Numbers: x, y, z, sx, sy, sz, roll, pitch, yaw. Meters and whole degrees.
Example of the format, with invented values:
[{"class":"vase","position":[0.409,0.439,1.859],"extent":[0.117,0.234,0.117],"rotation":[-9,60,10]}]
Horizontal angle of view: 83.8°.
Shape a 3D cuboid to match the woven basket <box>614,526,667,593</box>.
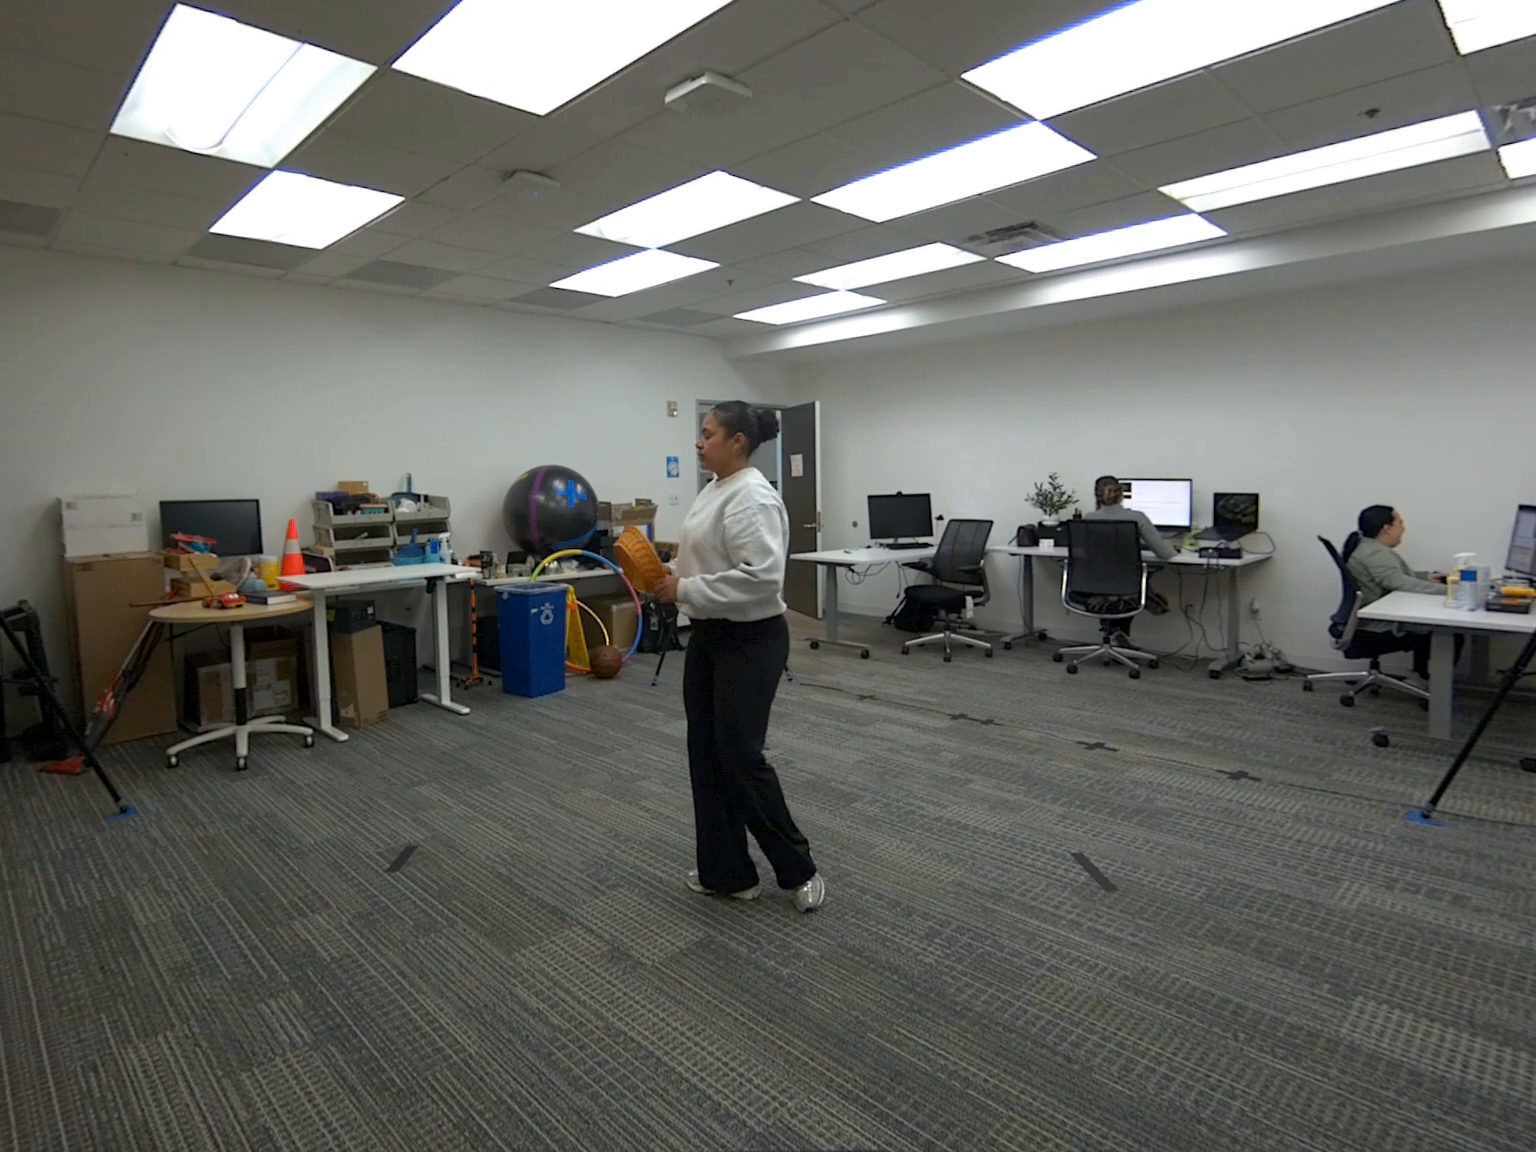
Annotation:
[{"class":"woven basket","position":[-0.402,-0.038,2.769],"extent":[0.073,0.249,0.358],"rotation":[-28,14,-17]}]
